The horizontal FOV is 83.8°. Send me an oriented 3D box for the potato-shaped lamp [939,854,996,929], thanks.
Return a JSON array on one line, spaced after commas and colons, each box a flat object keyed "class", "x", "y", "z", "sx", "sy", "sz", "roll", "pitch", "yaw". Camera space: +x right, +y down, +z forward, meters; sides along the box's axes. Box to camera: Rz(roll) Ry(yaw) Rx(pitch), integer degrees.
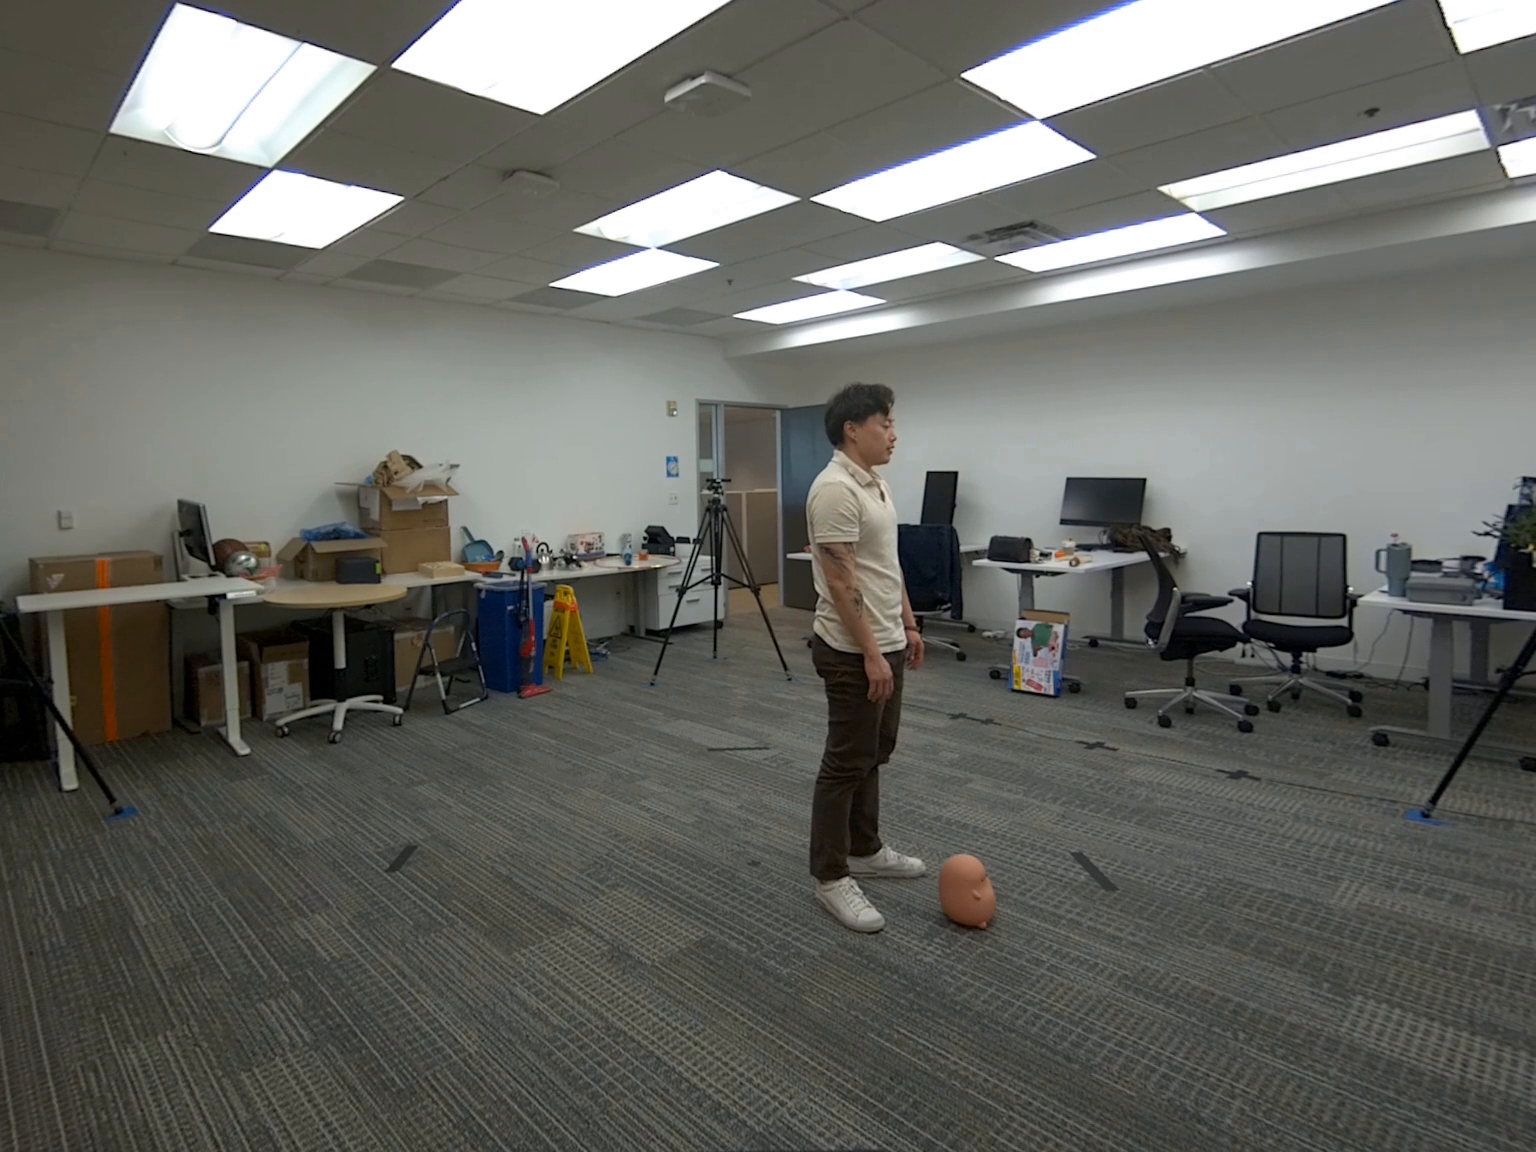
[{"class": "potato-shaped lamp", "x": 0.631, "y": 0.981, "z": 2.683, "sx": 0.176, "sy": 0.197, "sz": 0.161, "roll": 1, "pitch": 7, "yaw": 33}]
